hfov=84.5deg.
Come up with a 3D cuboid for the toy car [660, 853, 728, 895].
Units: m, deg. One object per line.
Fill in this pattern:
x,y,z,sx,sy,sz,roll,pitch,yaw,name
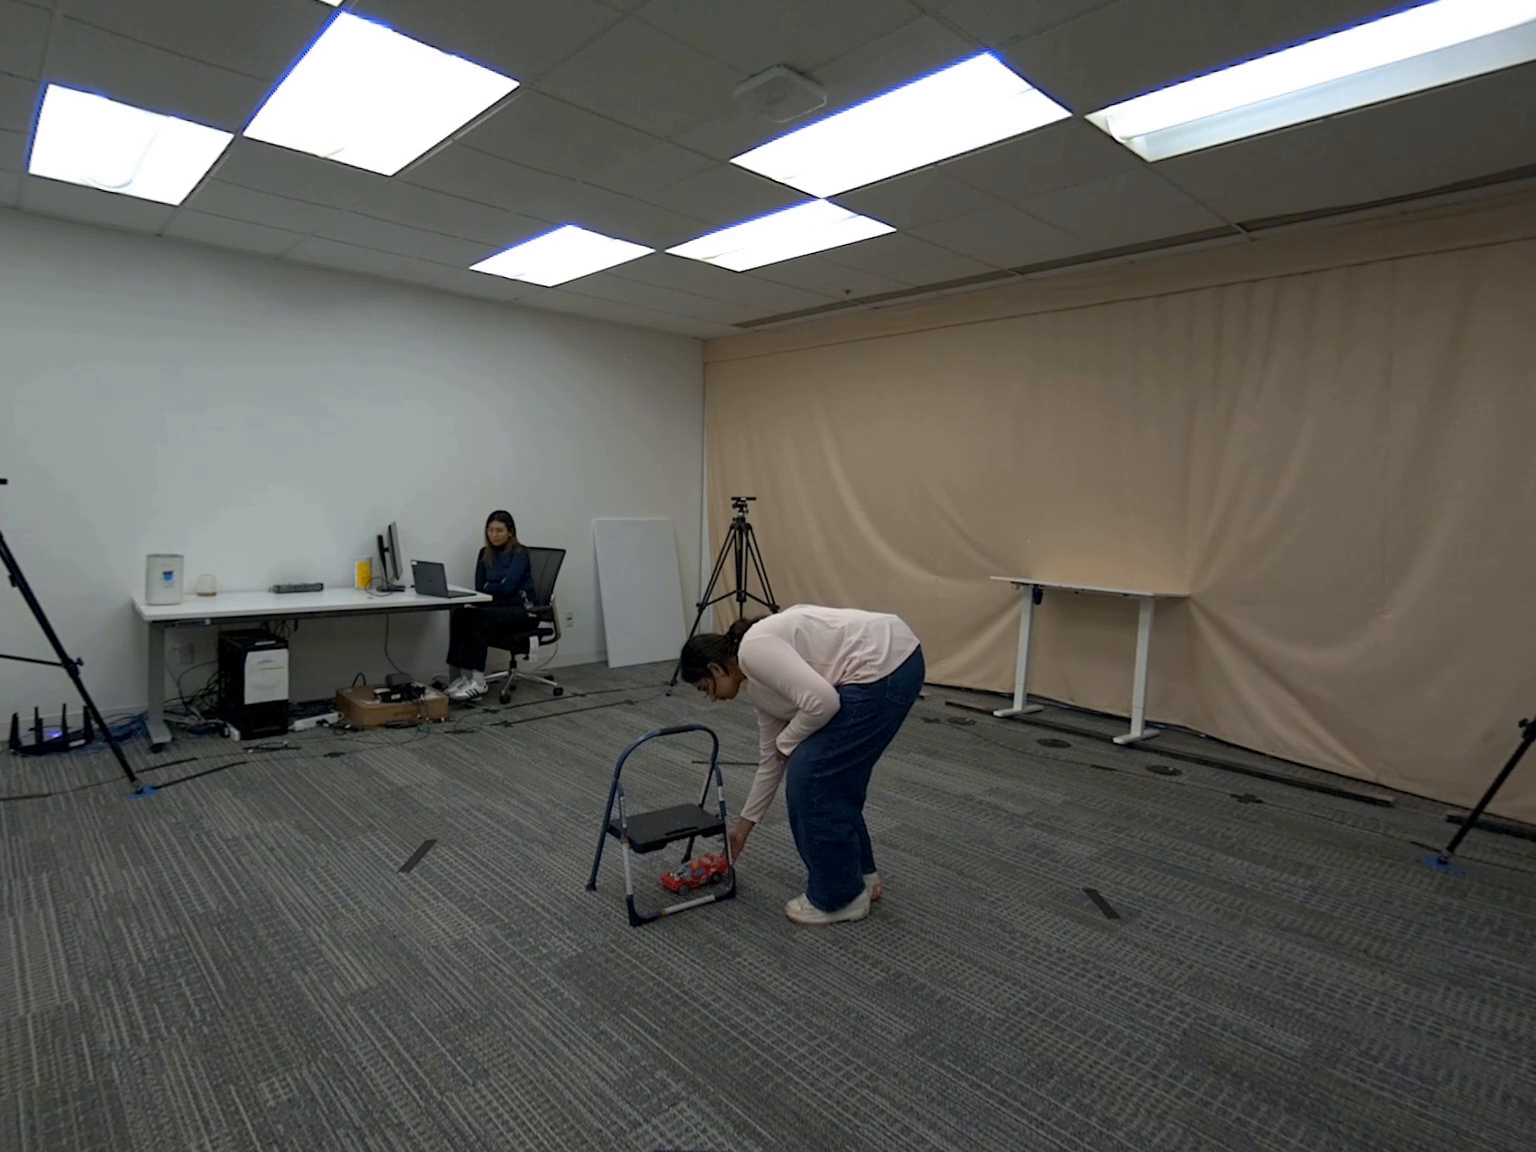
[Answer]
-0.265,1.076,3.037,0.250,0.082,0.133,-17,14,-38,toy car
